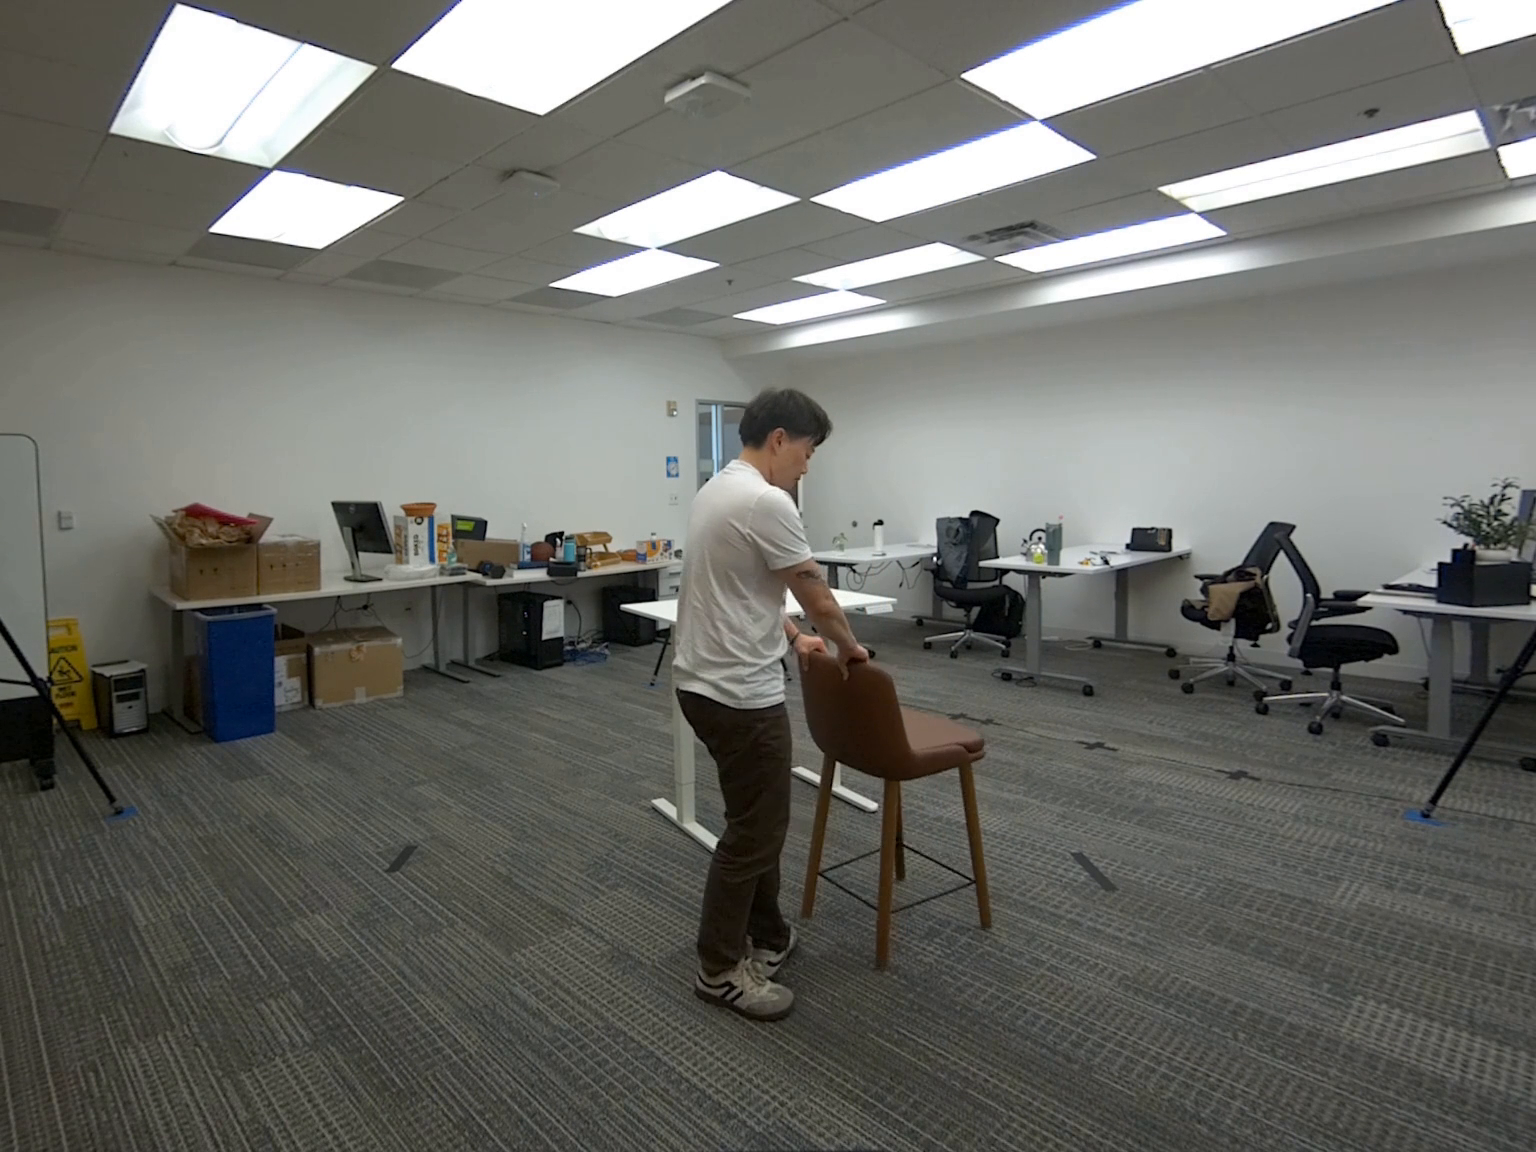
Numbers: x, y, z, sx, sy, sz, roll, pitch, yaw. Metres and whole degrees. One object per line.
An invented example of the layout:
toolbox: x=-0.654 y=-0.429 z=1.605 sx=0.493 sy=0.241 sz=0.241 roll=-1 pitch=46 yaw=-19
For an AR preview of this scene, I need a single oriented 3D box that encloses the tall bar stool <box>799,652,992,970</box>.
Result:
tall bar stool: x=0.377 y=0.649 z=2.659 sx=0.457 sy=0.885 sz=0.470 roll=-7 pitch=7 yaw=-33
